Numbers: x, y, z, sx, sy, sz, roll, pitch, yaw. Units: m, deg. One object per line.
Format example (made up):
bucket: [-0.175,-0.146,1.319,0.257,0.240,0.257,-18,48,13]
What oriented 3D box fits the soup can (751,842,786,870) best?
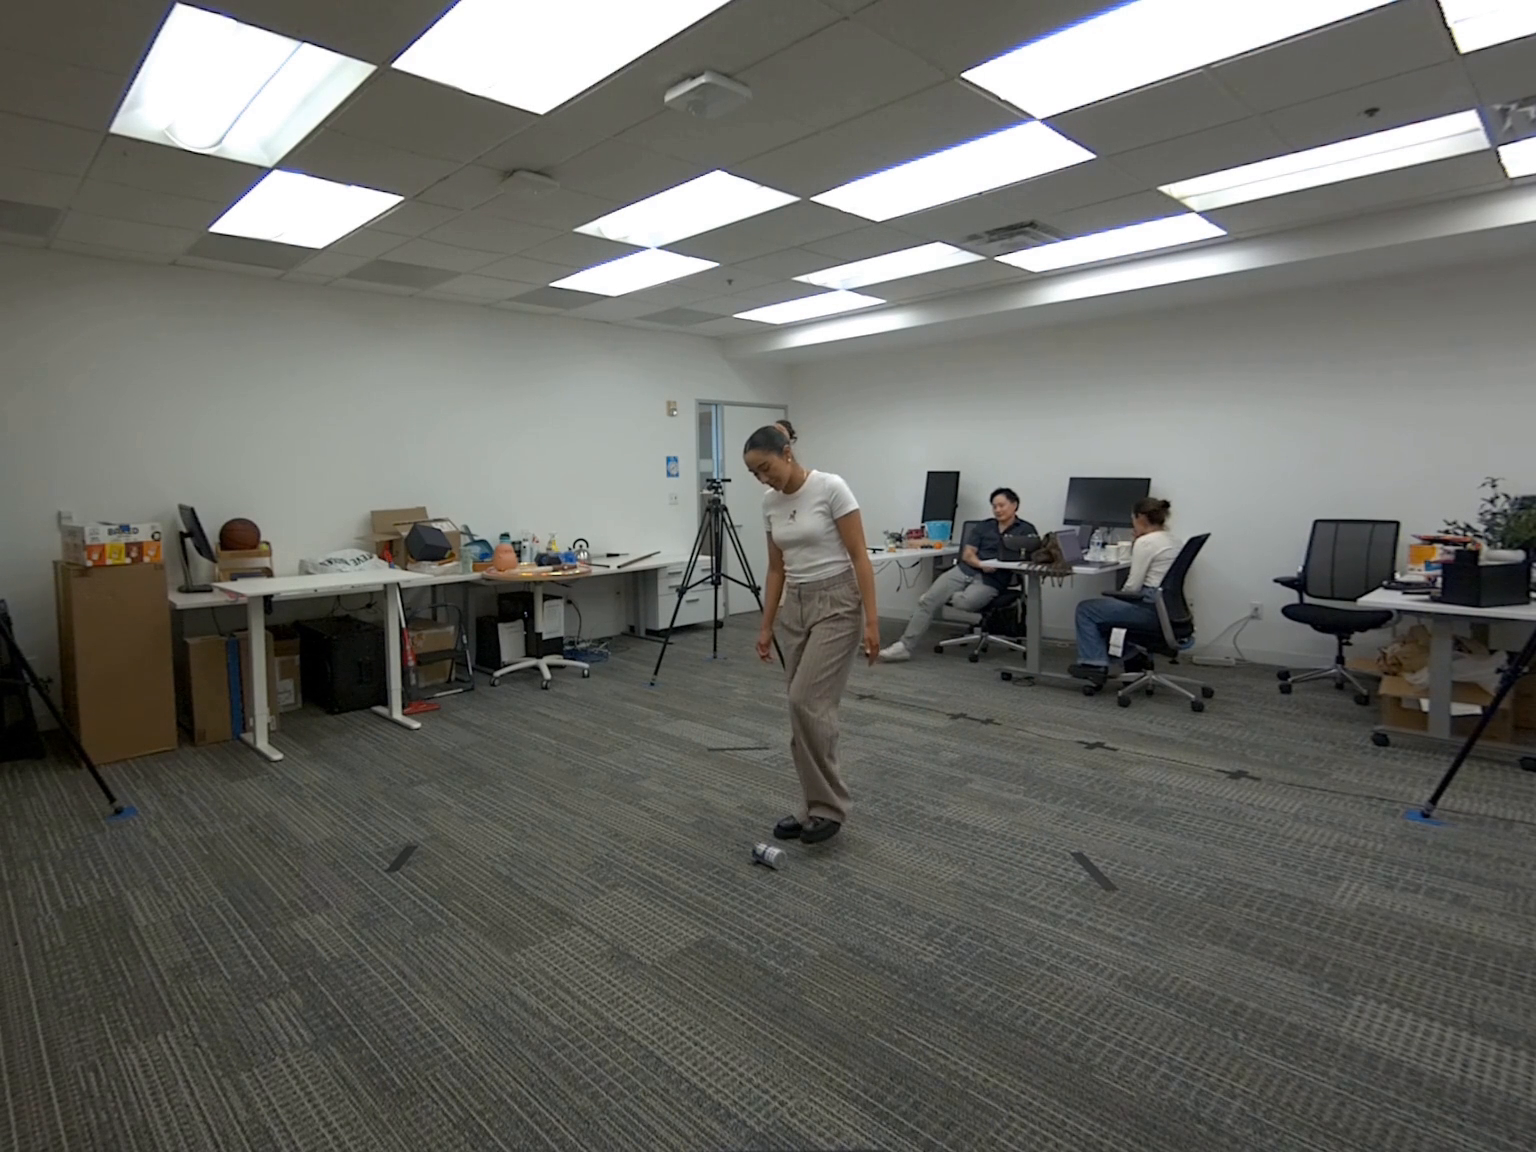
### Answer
soup can: [0.005,1.006,3.095,0.065,0.067,0.125,-5,6,-42]
